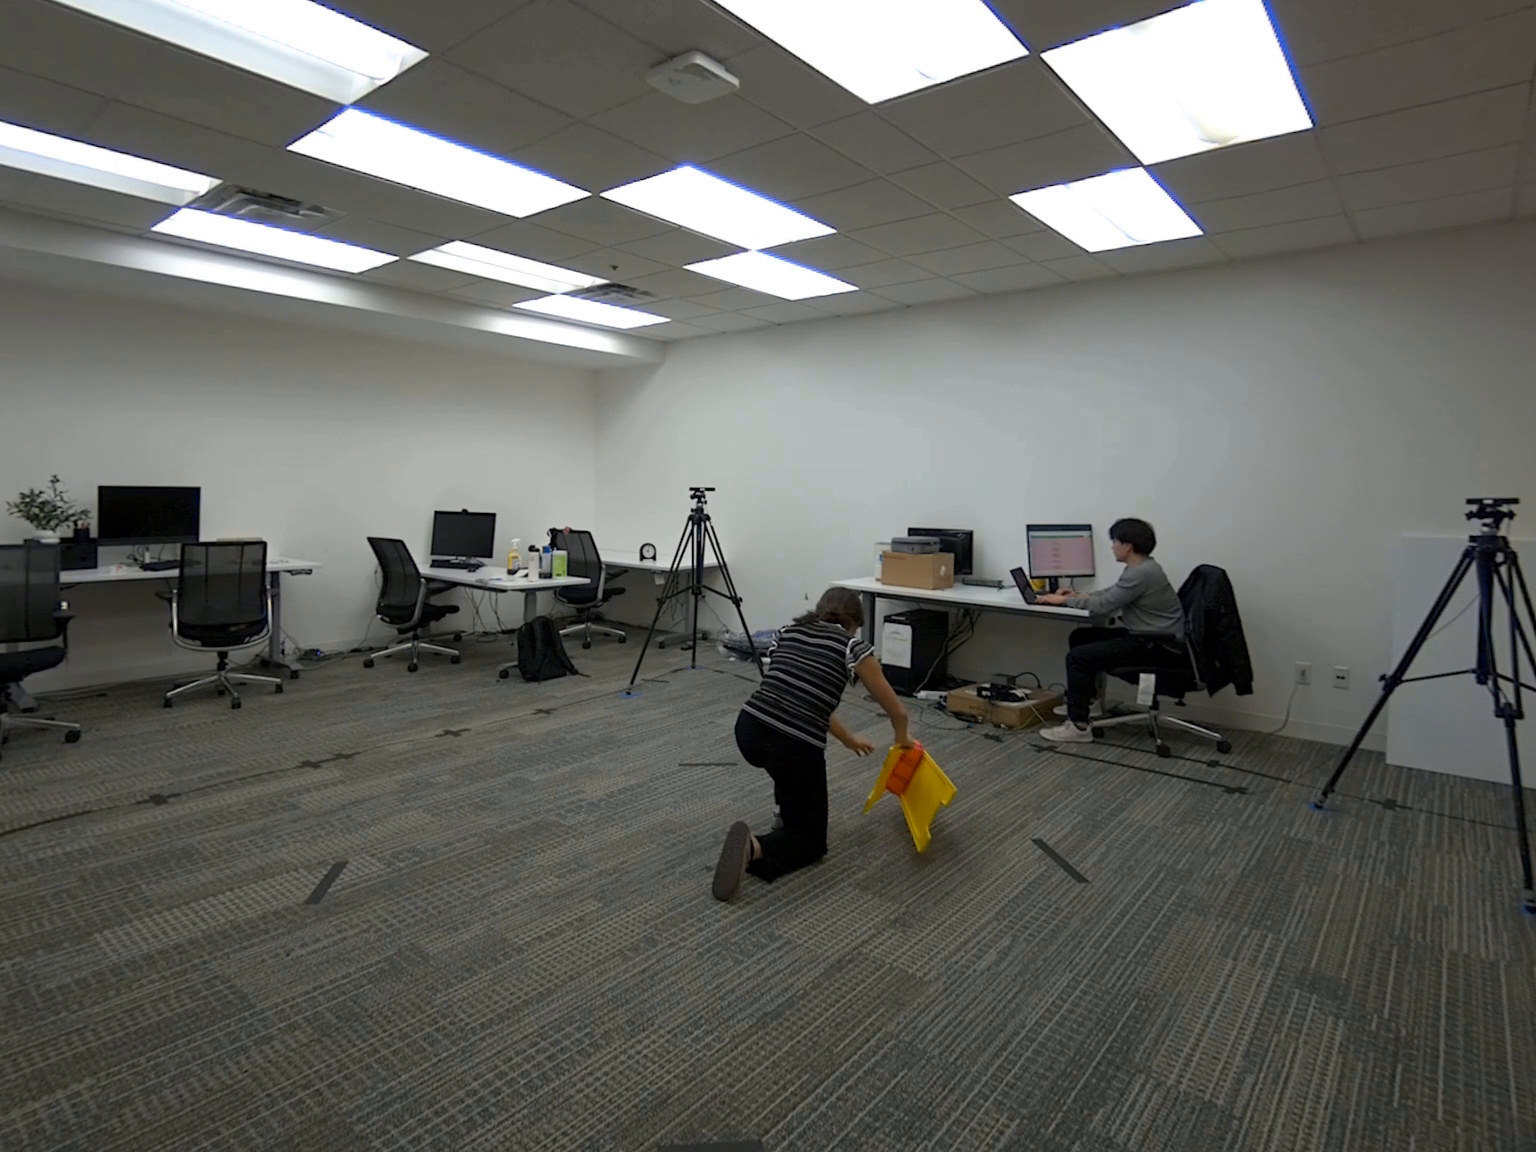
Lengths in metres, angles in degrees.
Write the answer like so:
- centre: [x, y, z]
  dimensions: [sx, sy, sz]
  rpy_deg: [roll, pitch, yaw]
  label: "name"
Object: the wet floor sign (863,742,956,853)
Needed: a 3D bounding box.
- centre: [0.558, 0.833, 3.488]
  dimensions: [0.294, 0.281, 0.639]
  rpy_deg: [28, 6, 8]
  label: "wet floor sign"
